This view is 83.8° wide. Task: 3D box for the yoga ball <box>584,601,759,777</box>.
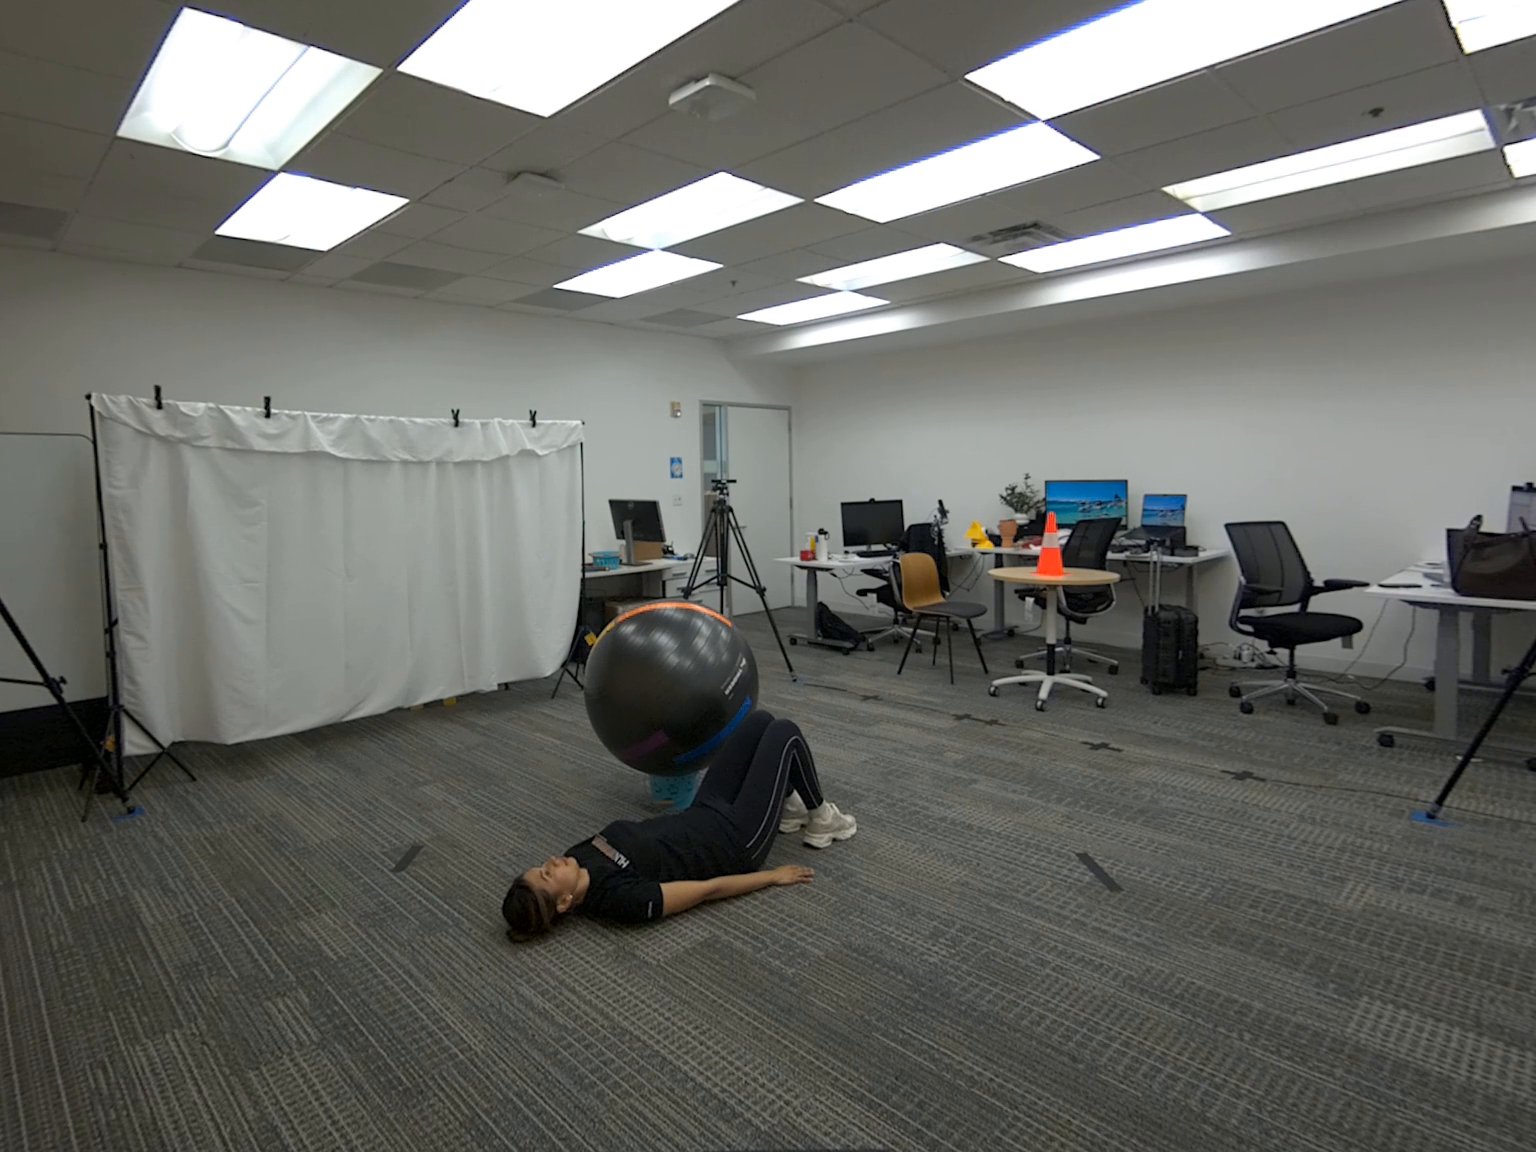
[{"bbox_3d":[-0.426,0.477,3.706,0.757,0.757,0.759,0,1,-2],"label":"yoga ball"}]
